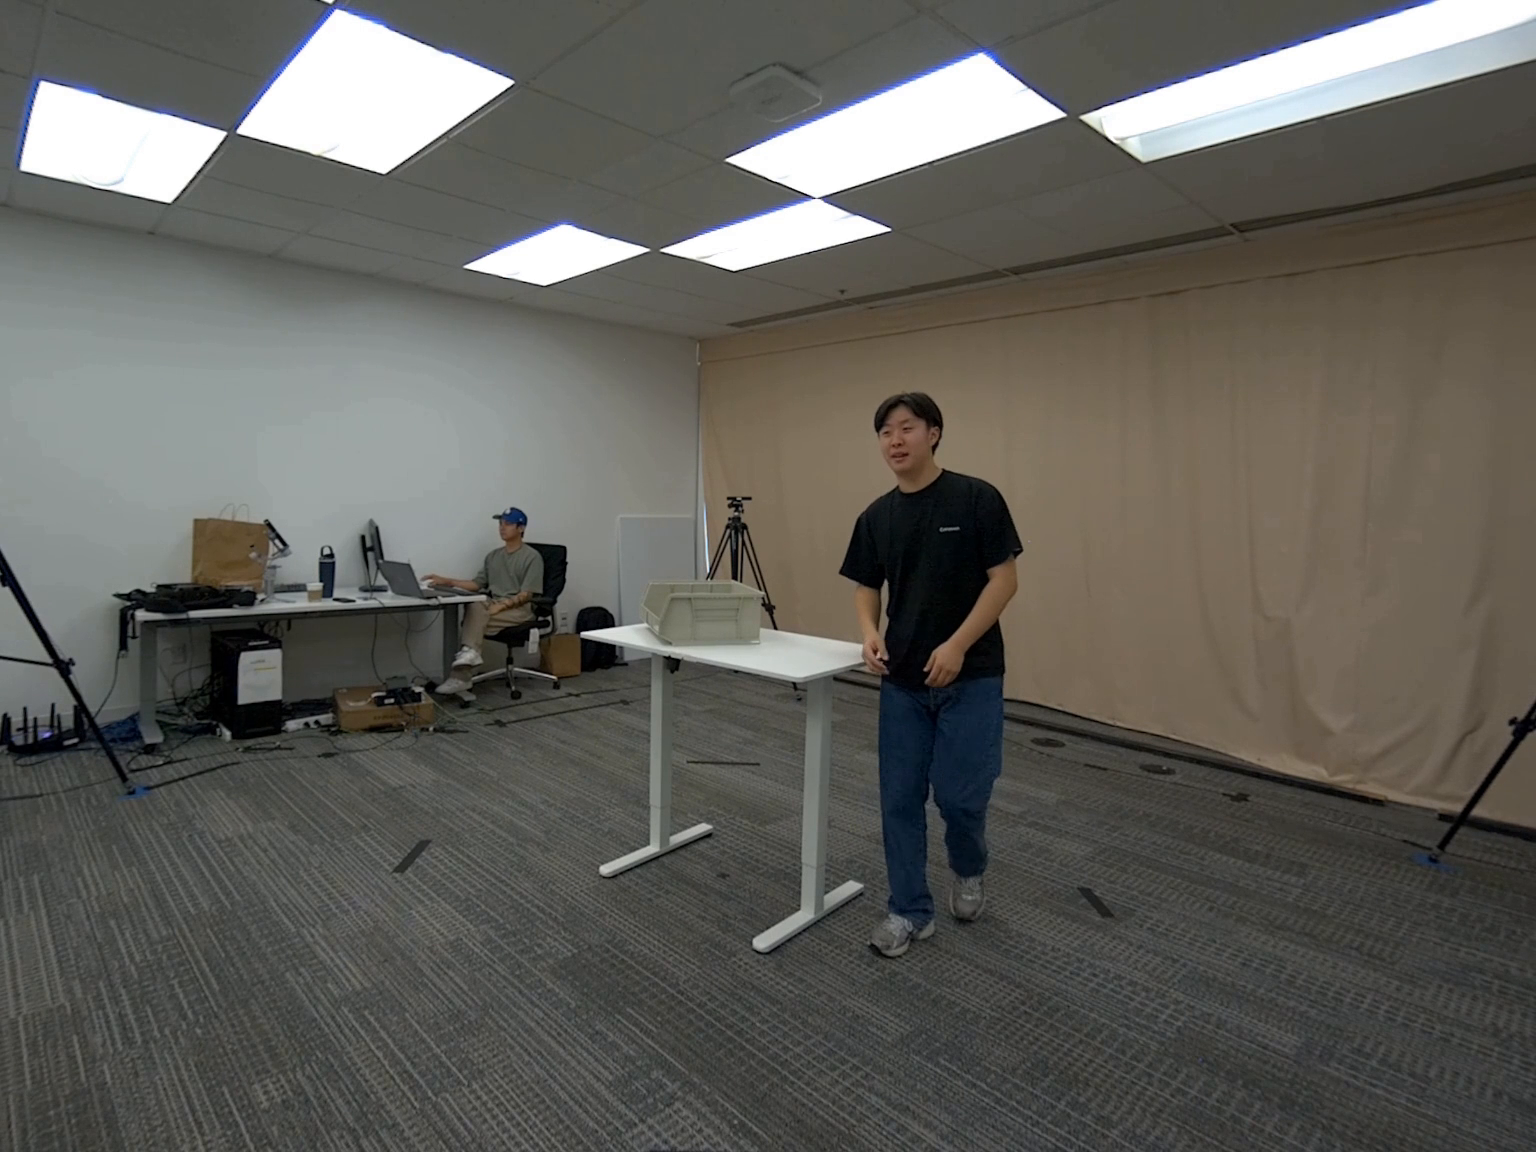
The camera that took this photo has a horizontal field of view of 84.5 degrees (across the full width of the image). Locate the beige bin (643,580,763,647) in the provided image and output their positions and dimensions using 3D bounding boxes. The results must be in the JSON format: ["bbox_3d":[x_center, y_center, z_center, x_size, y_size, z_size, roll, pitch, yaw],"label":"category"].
[{"bbox_3d":[-0.258,0.135,3.101,0.373,0.188,0.429,0,5,-16],"label":"beige bin"}]
